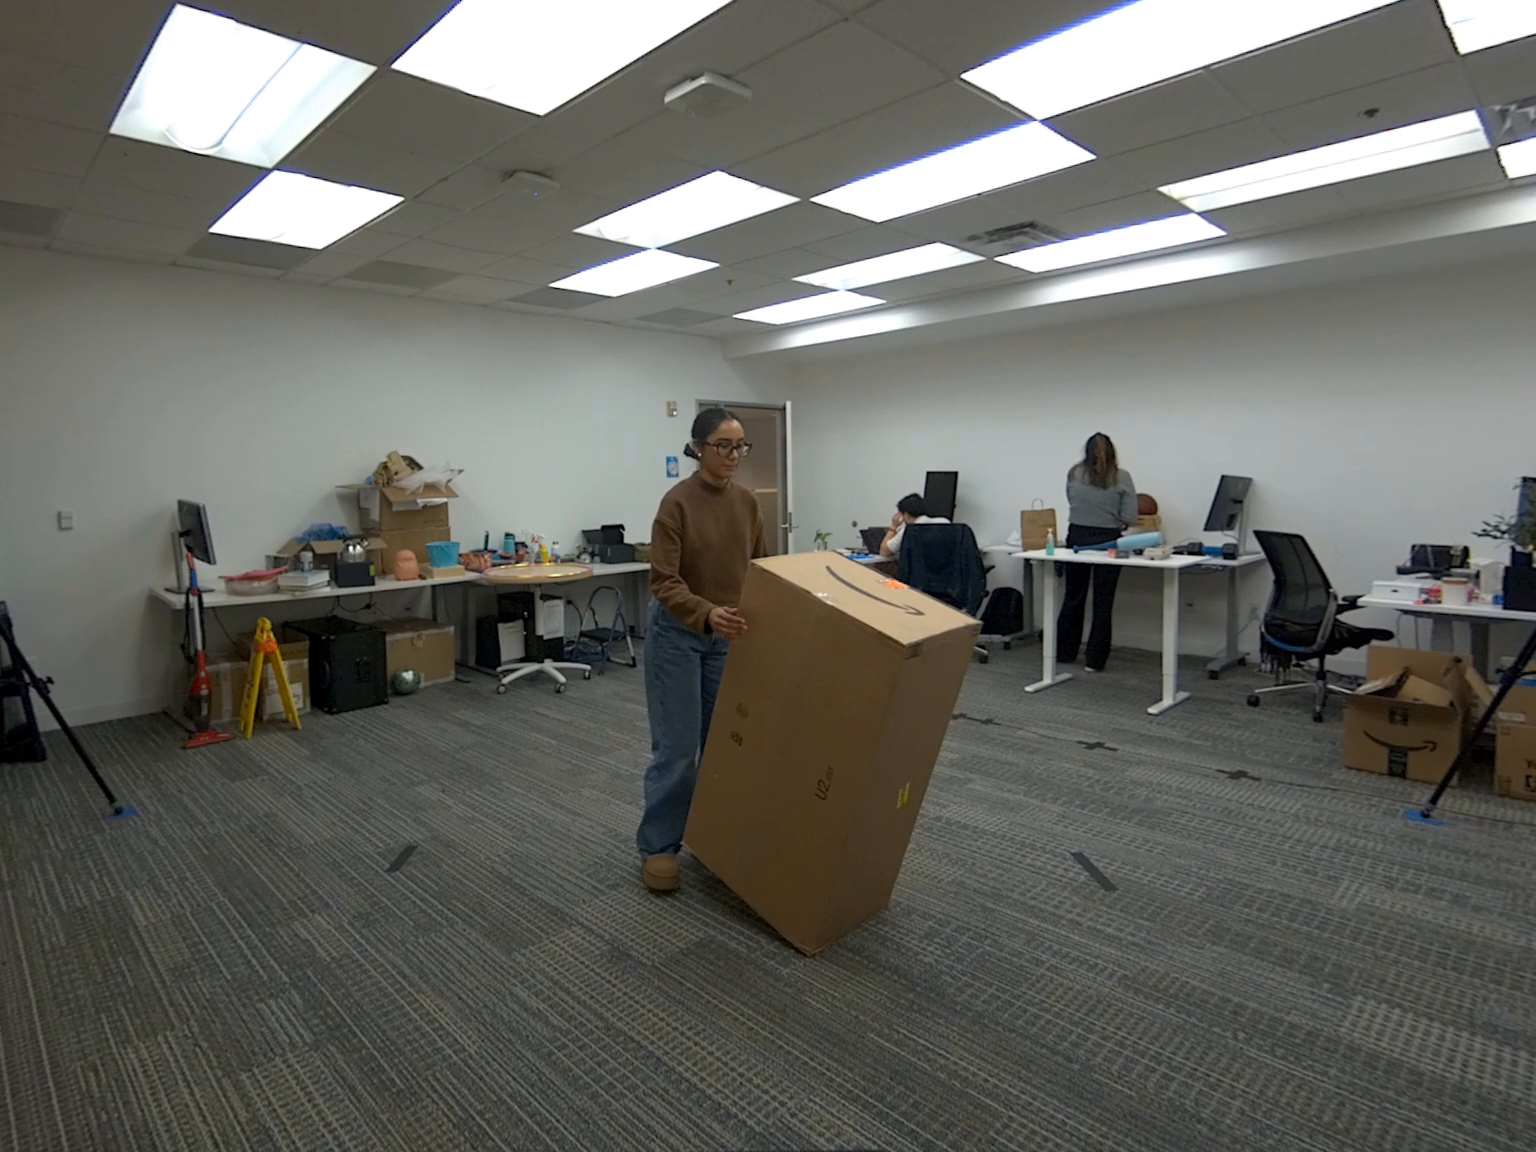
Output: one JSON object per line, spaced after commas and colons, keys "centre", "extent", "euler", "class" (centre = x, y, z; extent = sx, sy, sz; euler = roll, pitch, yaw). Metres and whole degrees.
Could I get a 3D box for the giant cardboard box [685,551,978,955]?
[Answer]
{"centre": [0.180, 0.518, 2.664], "extent": [0.599, 1.015, 0.415], "euler": [28, 22, 38], "class": "giant cardboard box"}
